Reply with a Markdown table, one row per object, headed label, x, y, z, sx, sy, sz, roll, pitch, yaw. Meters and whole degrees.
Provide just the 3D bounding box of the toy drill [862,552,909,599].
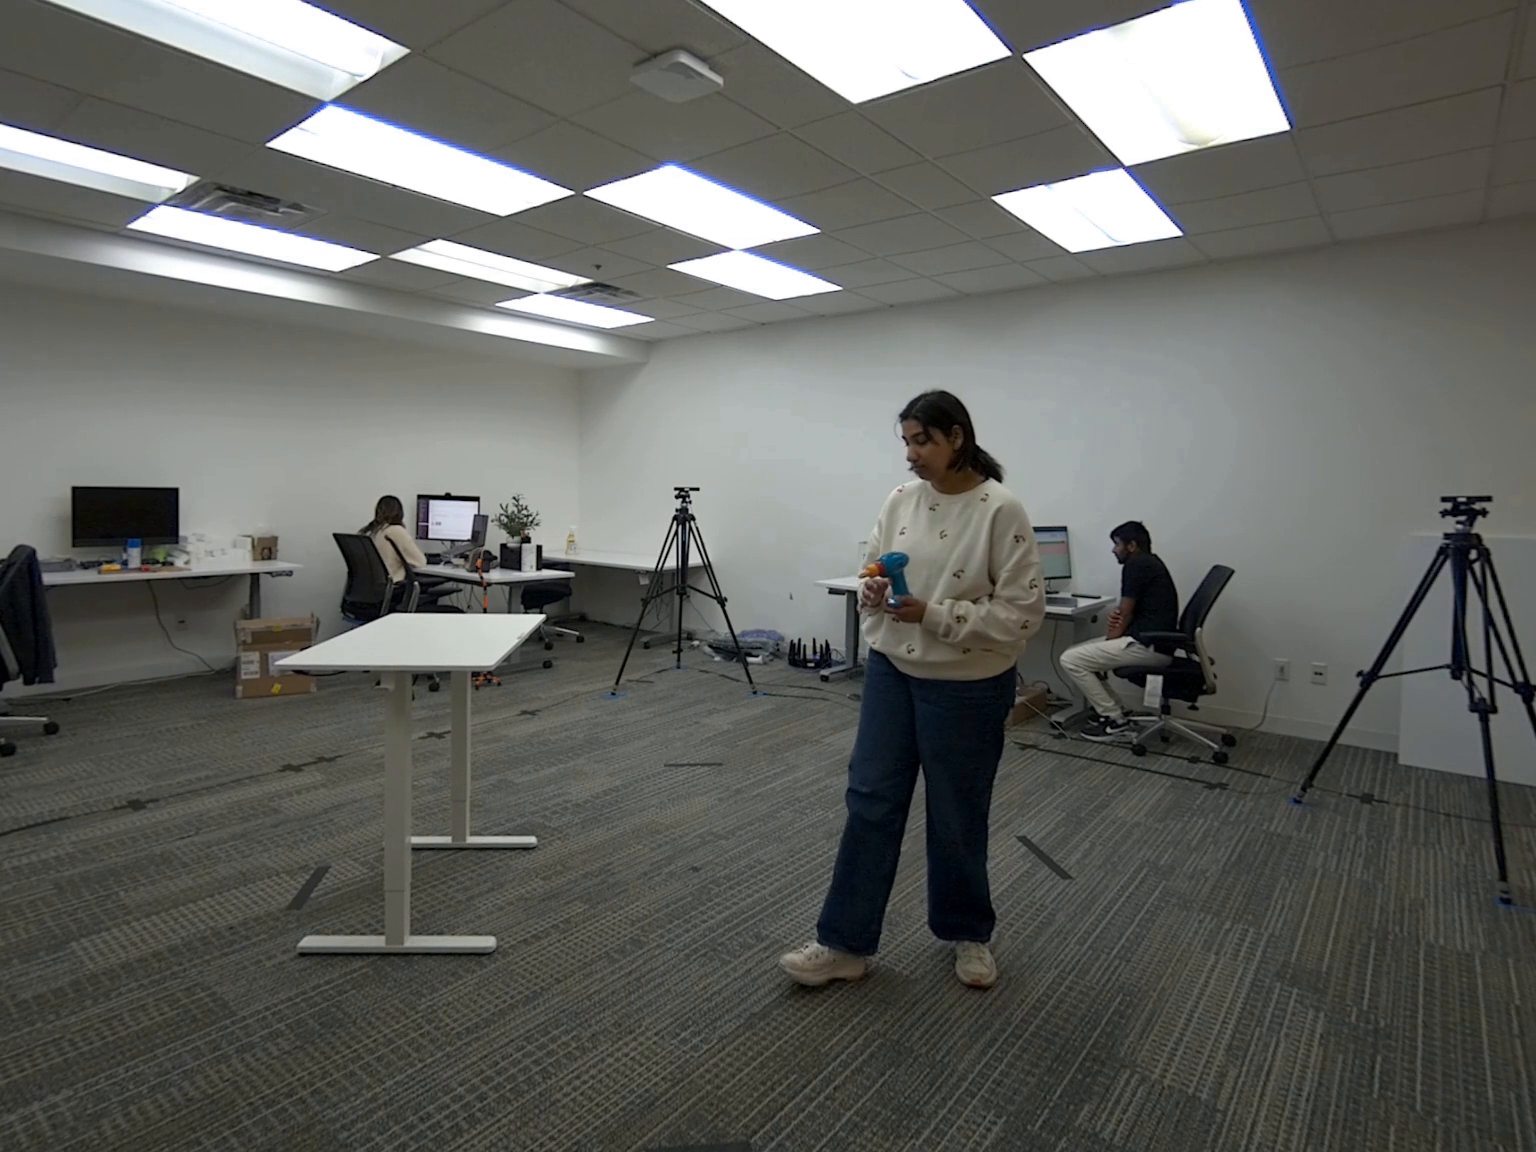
| label | x | y | z | sx | sy | sz | roll | pitch | yaw |
| --- | --- | --- | --- | --- | --- | --- | --- | --- | --- |
| toy drill | 0.311 | 0.007 | 2.210 | 0.167 | 0.145 | 0.063 | -19 | 6 | -31 |
